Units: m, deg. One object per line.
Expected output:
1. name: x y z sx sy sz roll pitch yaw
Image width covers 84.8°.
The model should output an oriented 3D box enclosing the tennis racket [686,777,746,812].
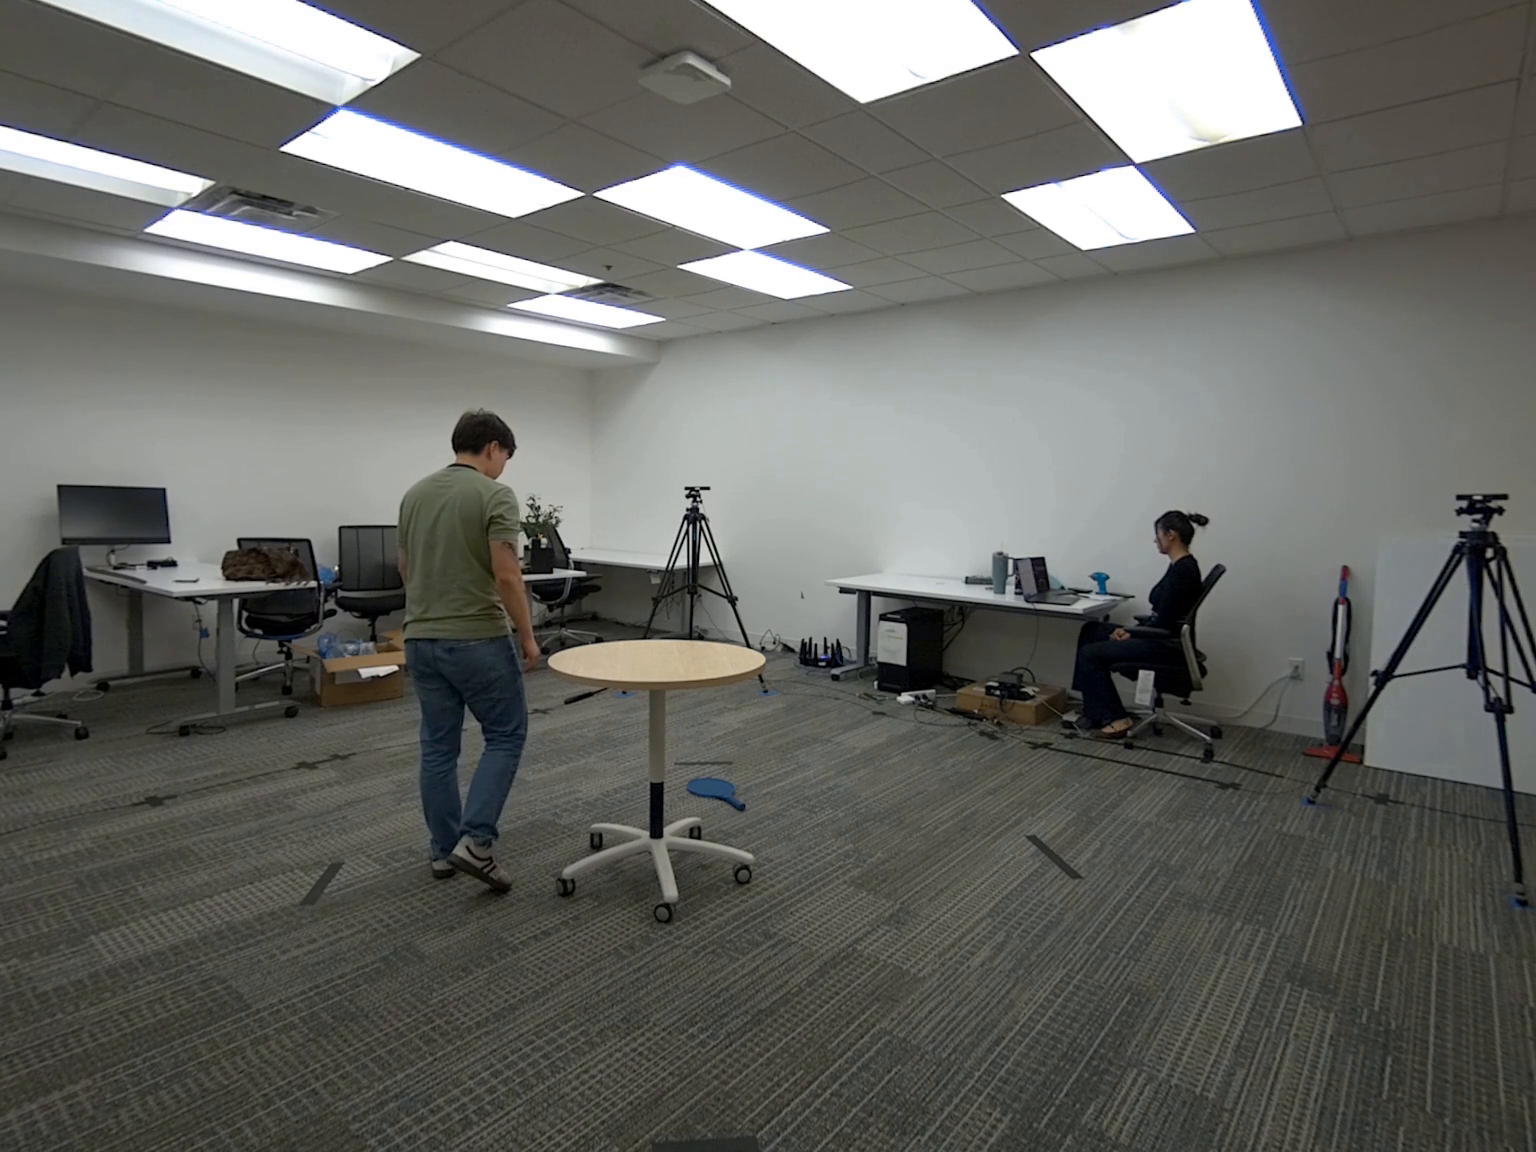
1. tennis racket: -0.231 0.977 3.856 0.208 0.031 0.446 -2 5 -32
